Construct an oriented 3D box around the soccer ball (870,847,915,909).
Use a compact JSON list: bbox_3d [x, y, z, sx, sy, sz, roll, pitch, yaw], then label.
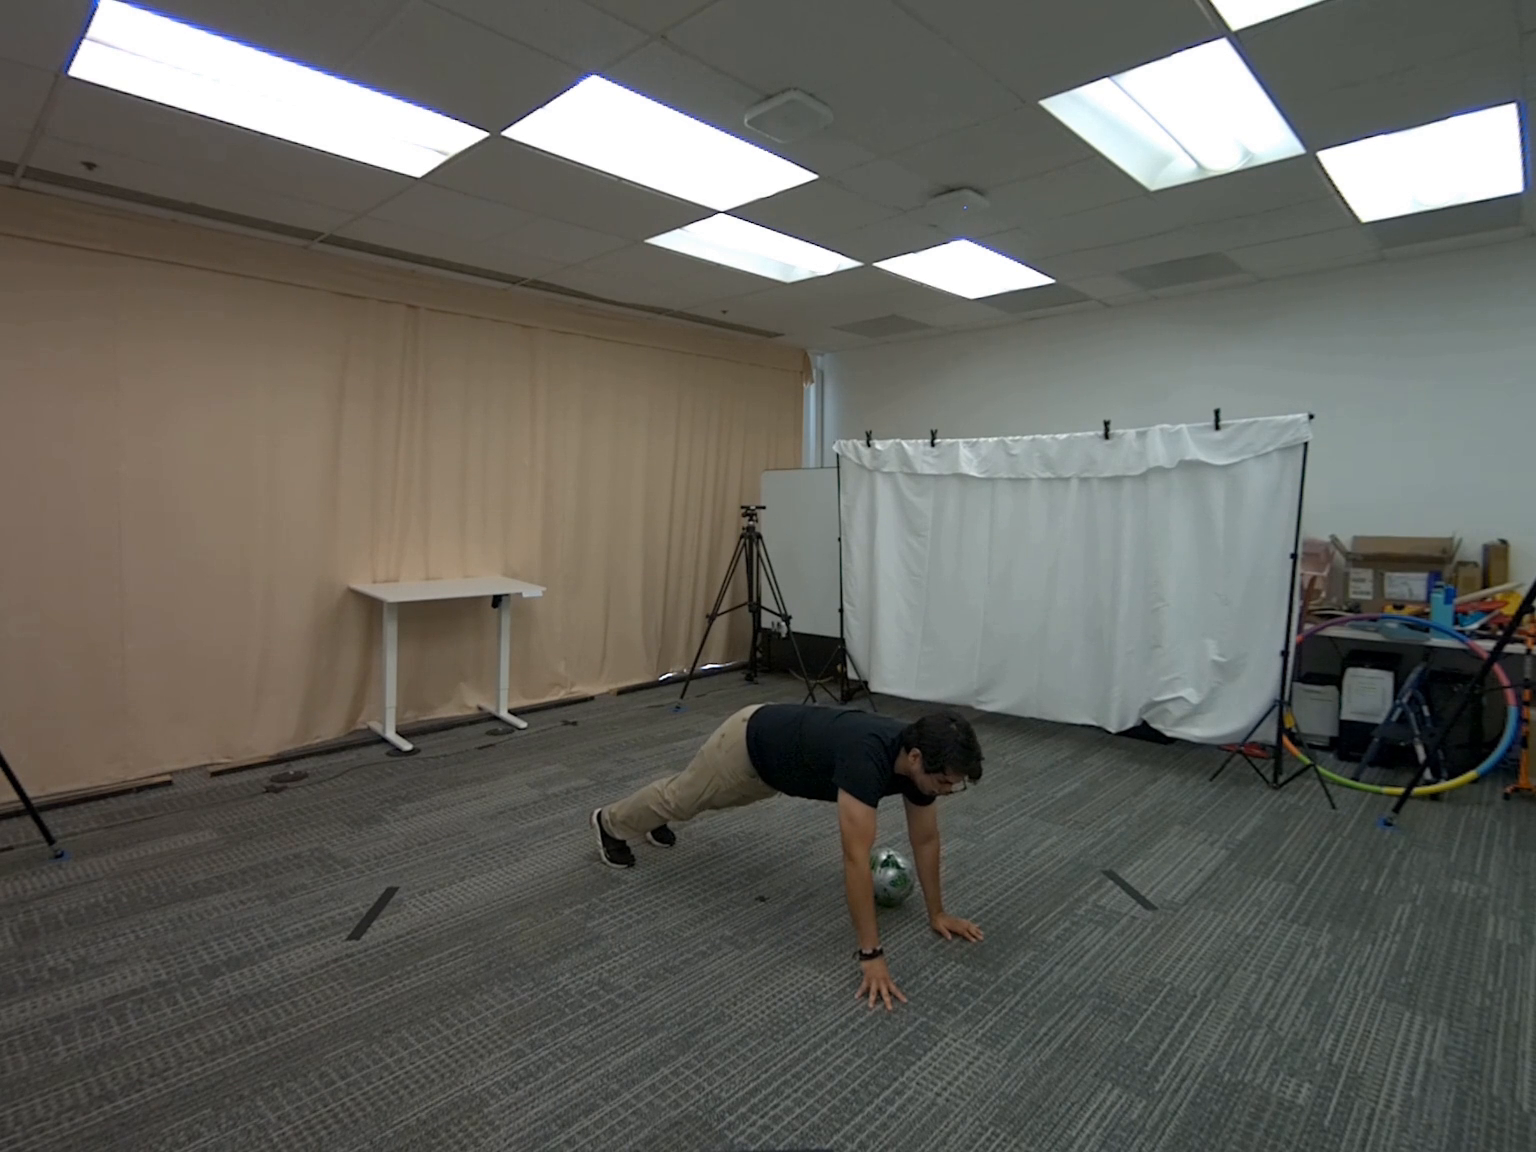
[{"bbox_3d":[0.427,1.052,2.947,0.187,0.187,0.188,0,4,-2],"label":"soccer ball"}]
